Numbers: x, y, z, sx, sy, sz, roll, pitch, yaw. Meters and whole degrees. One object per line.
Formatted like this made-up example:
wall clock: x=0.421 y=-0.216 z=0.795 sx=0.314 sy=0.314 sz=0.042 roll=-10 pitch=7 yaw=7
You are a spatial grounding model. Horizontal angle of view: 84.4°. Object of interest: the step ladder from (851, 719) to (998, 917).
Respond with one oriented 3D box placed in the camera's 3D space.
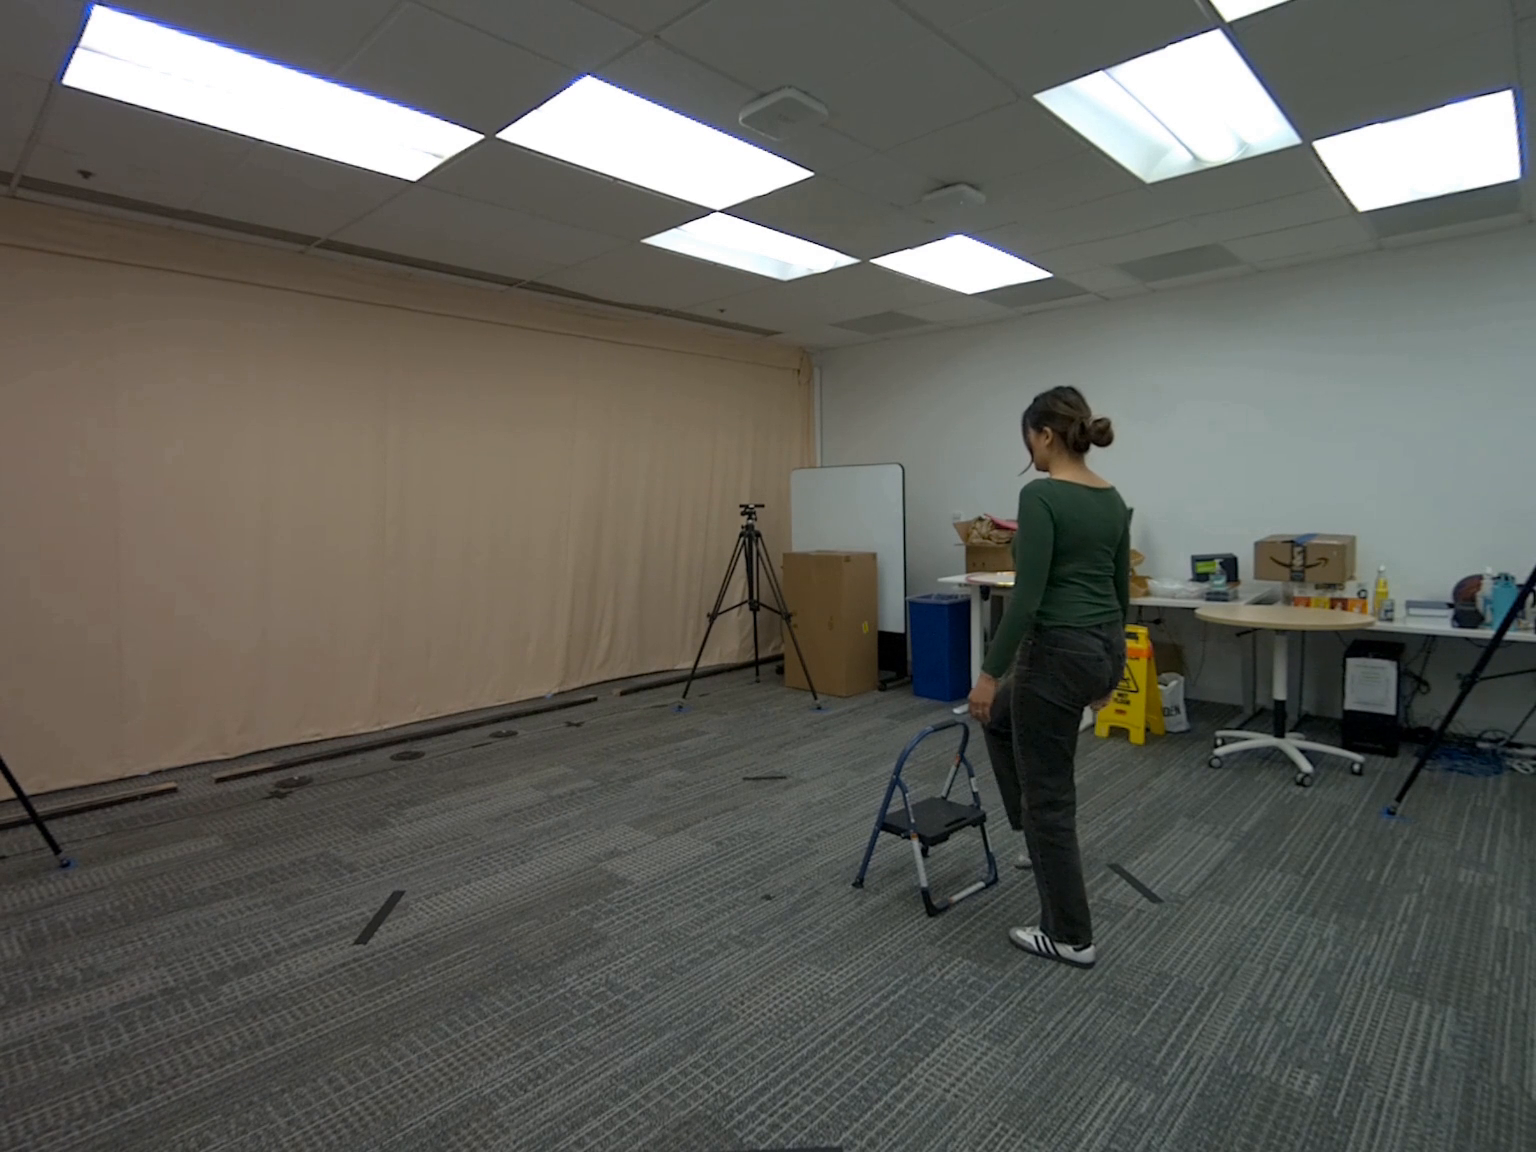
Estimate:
step ladder: x=0.578 y=0.818 z=3.054 sx=0.417 sy=0.605 sz=0.361 roll=-4 pitch=5 yaw=-43
